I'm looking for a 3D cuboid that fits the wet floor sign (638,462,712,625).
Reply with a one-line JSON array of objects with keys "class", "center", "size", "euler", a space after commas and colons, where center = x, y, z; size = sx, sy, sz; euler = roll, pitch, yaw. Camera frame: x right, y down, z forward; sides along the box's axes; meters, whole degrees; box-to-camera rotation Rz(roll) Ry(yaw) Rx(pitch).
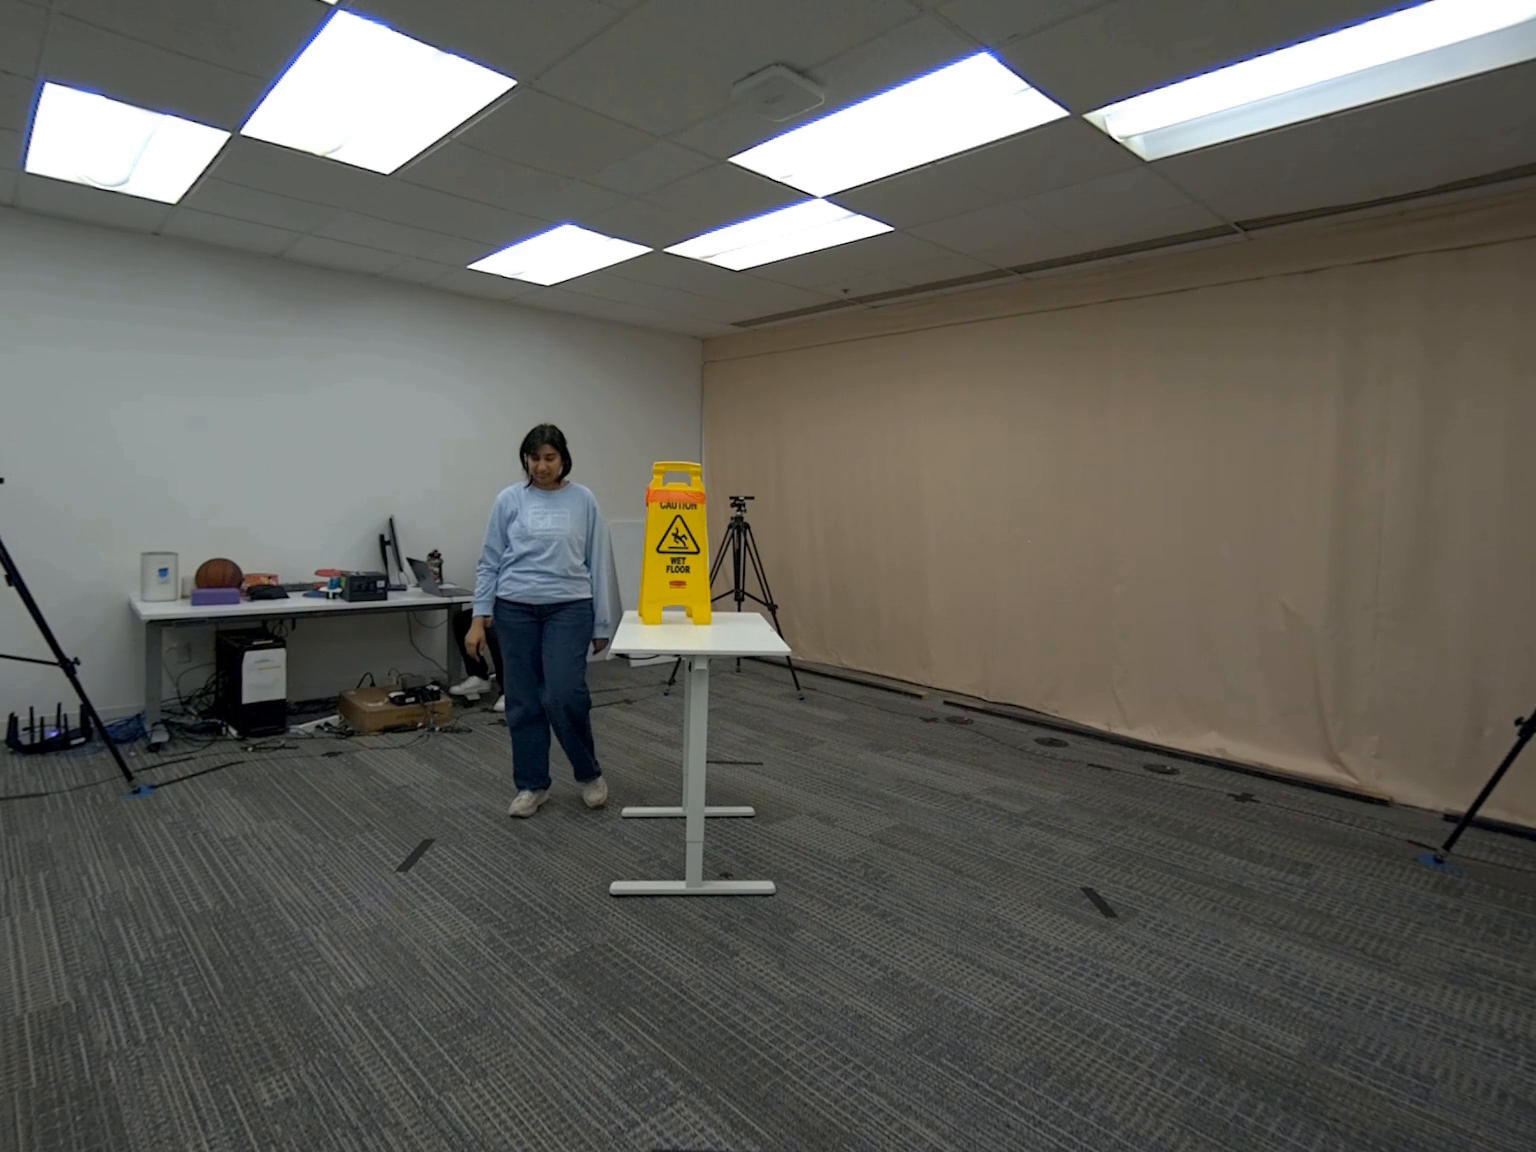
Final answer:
[{"class": "wet floor sign", "center": [-0.384, -0.140, 3.459], "size": [0.280, 0.644, 0.293], "euler": [1, 4, -10]}]
